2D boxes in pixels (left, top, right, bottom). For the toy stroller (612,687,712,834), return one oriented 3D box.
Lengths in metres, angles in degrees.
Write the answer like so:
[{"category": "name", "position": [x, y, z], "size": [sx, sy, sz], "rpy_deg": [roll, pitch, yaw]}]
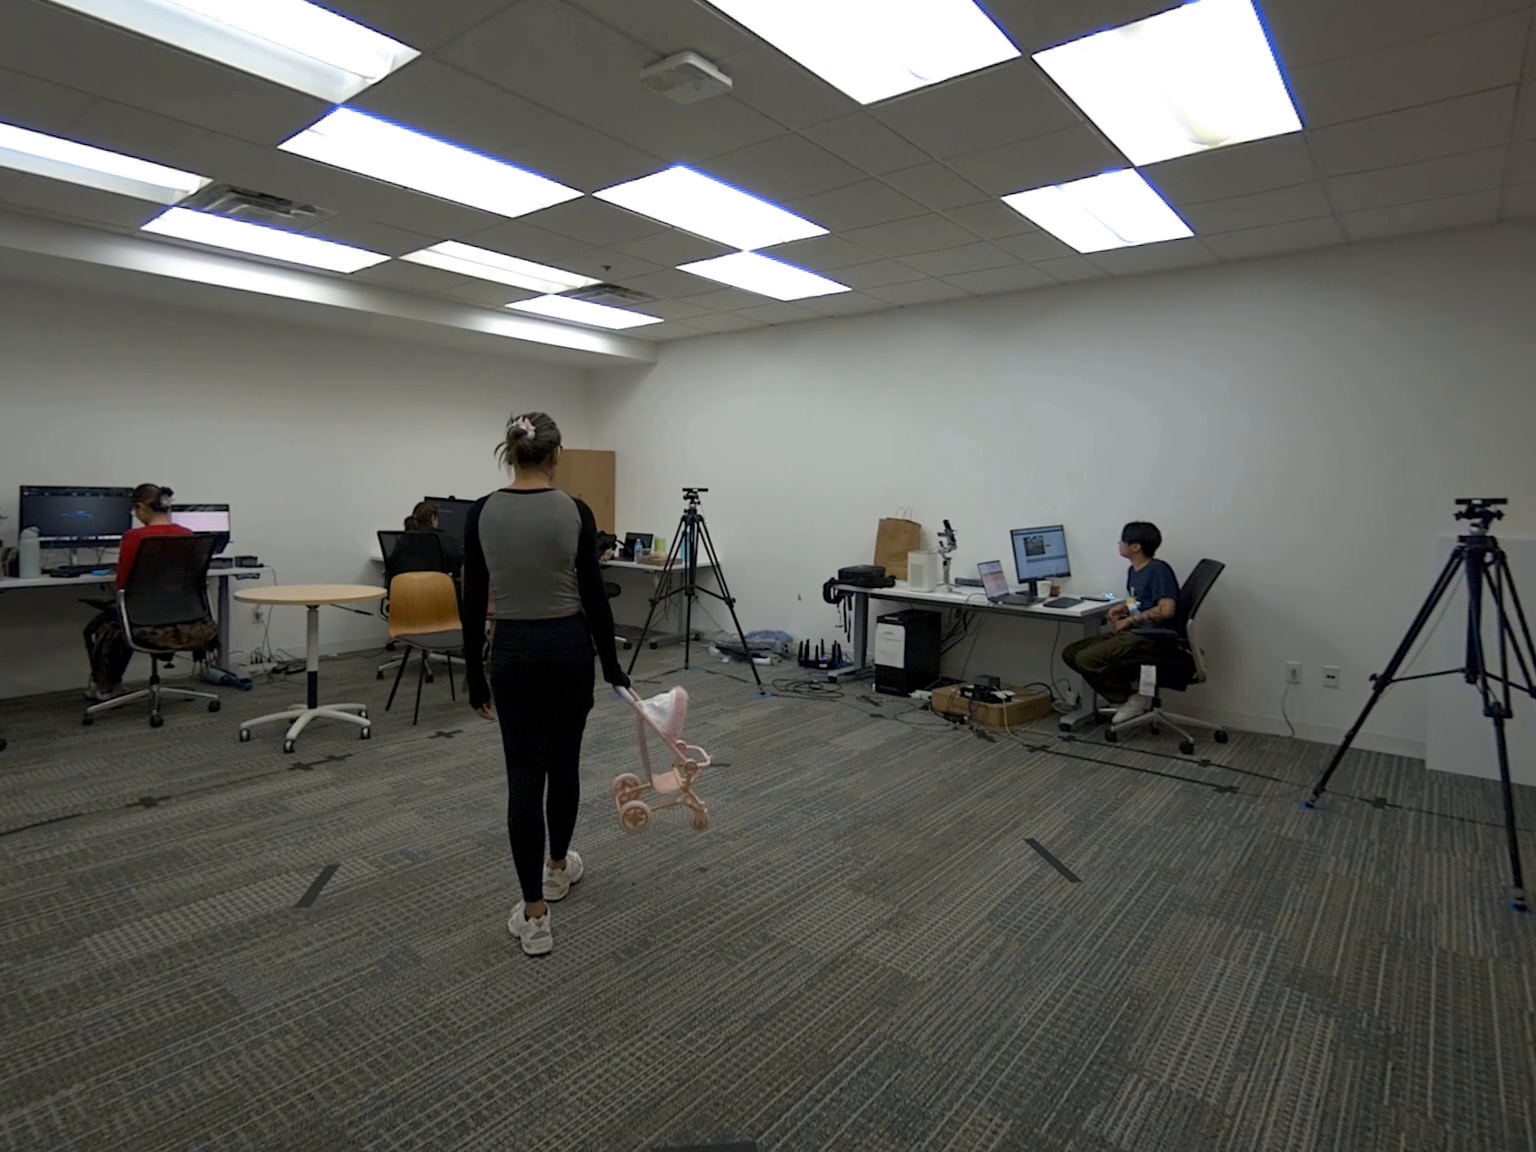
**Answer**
[{"category": "toy stroller", "position": [-0.358, 0.607, 2.877], "size": [0.338, 0.533, 0.285], "rpy_deg": [0, 4, -9]}]
